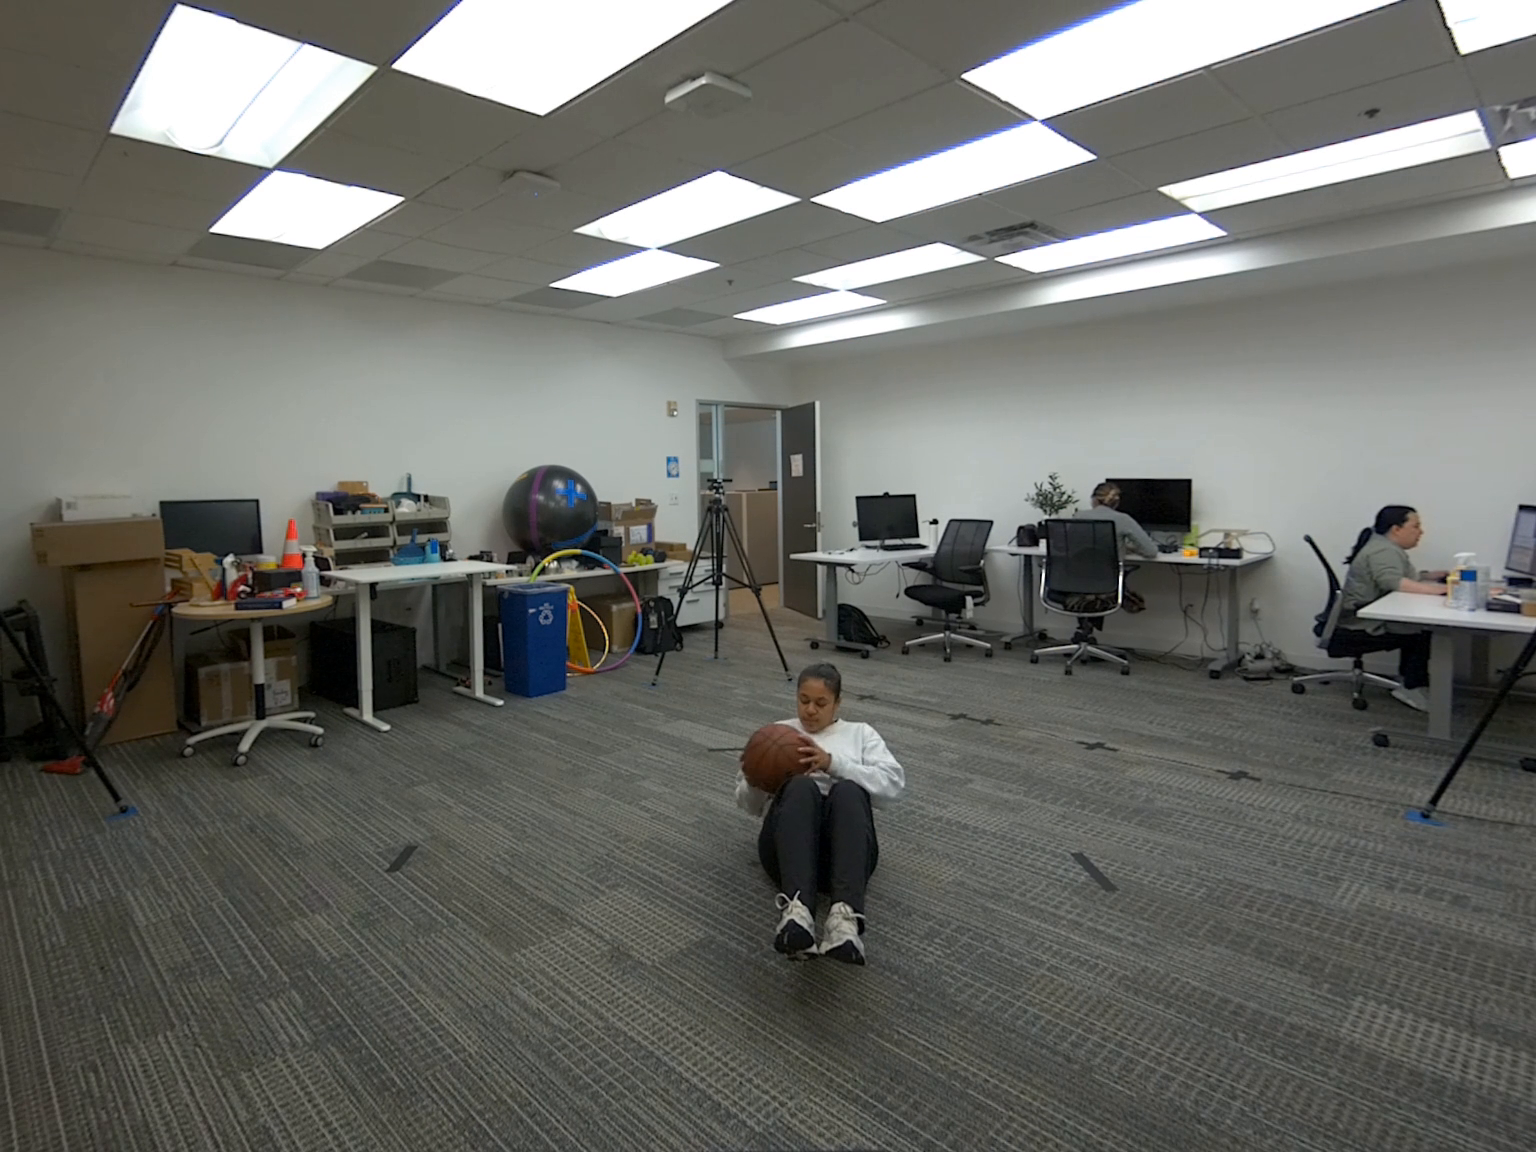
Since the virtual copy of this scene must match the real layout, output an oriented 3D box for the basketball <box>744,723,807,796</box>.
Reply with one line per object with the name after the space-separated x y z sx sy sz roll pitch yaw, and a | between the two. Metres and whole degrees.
0.072 0.655 2.969 0.236 0.235 0.237 -1 5 -2 | basketball
